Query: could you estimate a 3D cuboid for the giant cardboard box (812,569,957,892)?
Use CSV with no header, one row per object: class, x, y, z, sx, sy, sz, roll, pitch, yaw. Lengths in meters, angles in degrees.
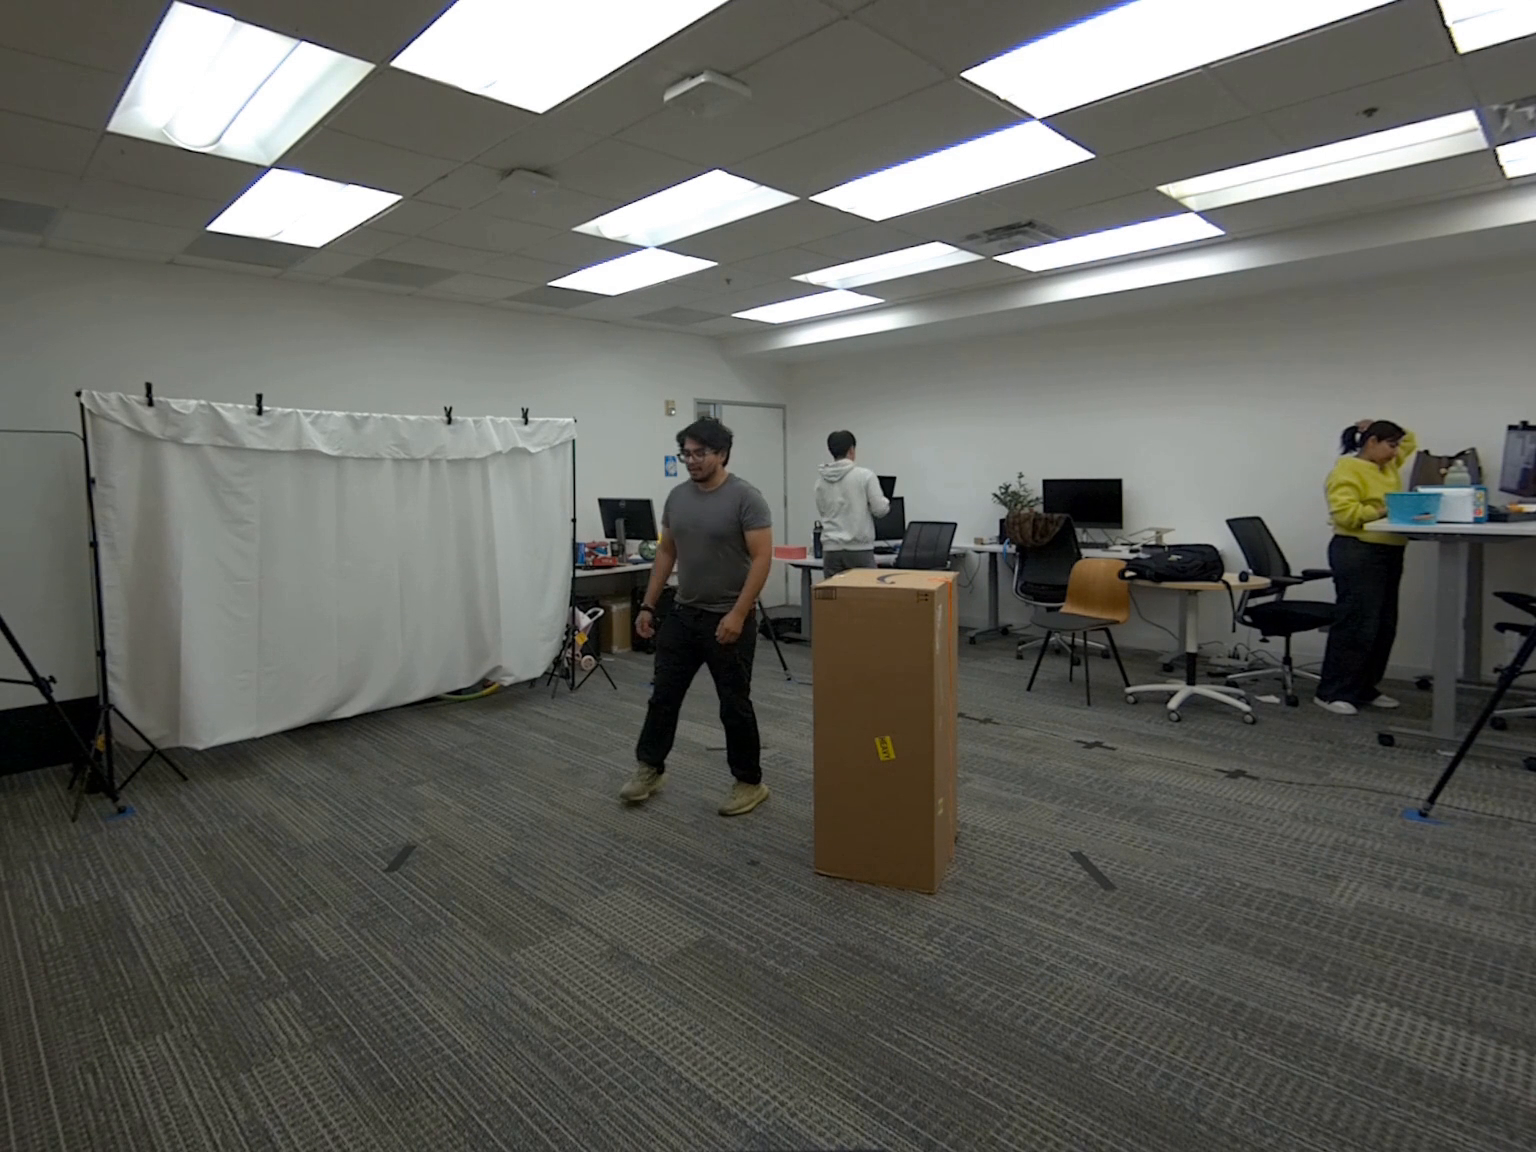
giant cardboard box,0.455,0.521,3.153,0.456,1.024,0.574,0,4,21
